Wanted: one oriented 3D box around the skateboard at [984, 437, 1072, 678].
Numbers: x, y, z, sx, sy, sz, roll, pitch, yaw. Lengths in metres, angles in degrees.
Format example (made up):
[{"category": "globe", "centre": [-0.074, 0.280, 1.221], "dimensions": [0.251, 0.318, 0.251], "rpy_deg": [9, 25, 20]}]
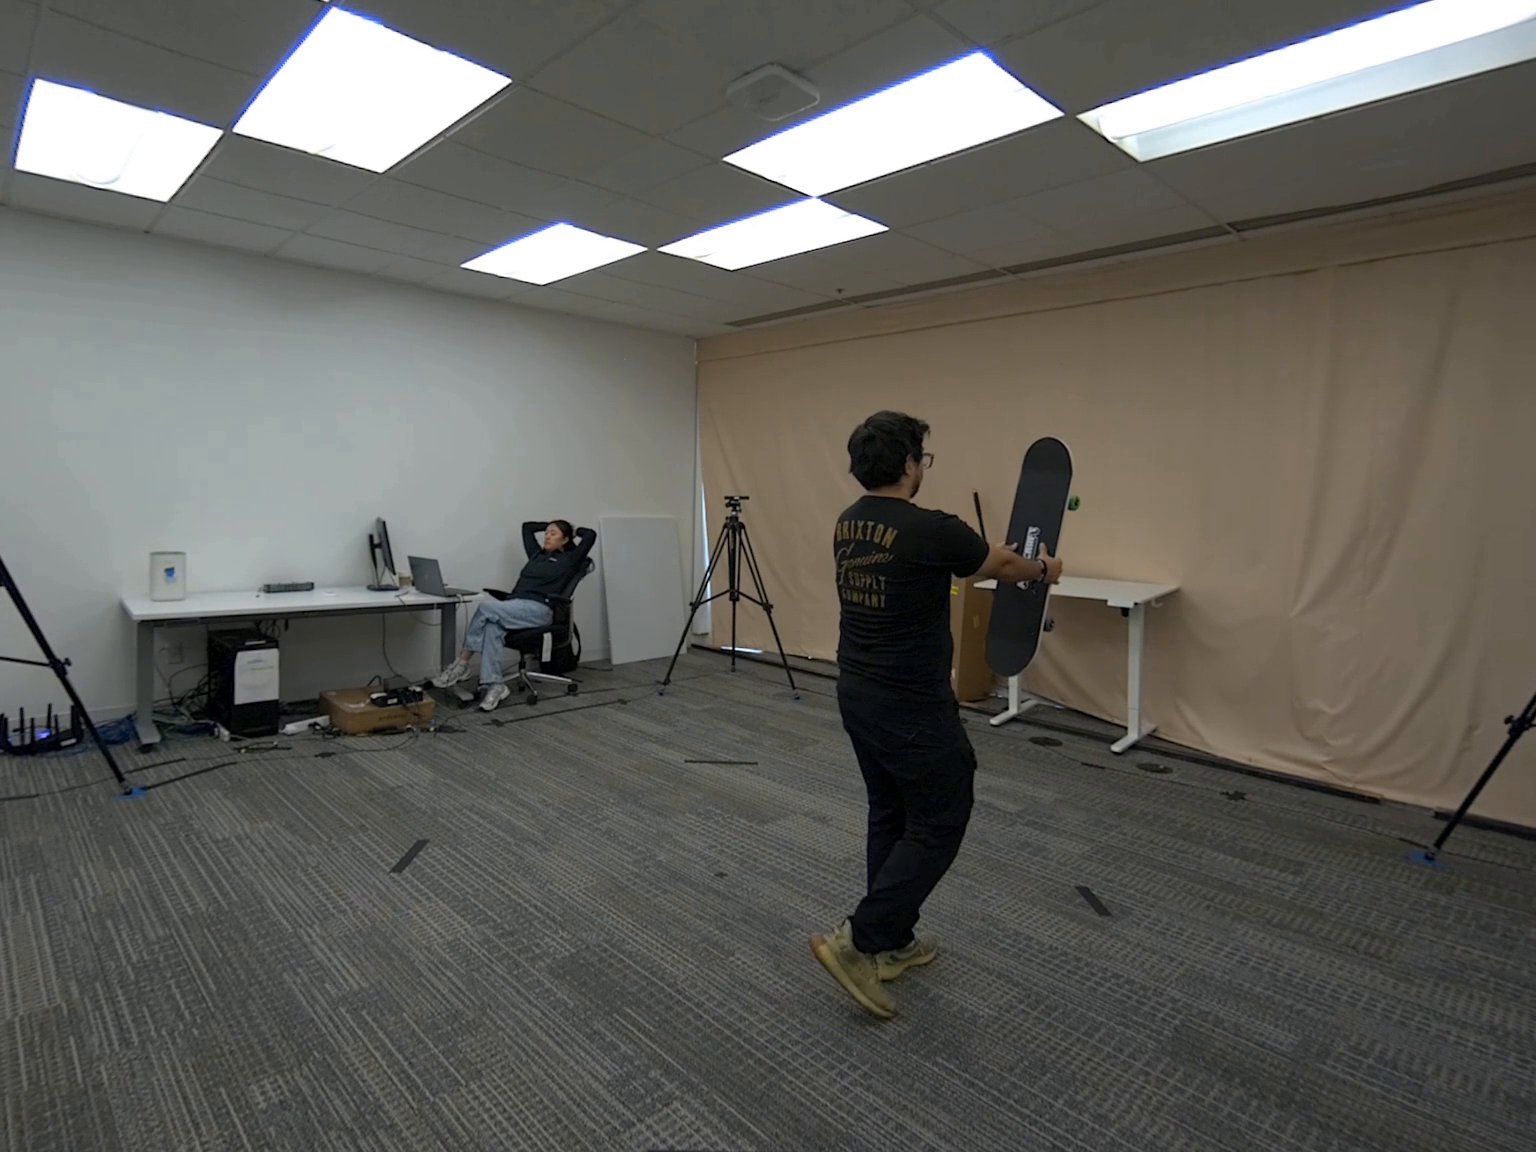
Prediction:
[{"category": "skateboard", "centre": [0.862, -0.052, 2.744], "dimensions": [0.107, 0.785, 0.199], "rpy_deg": [11, 0, -39]}]
